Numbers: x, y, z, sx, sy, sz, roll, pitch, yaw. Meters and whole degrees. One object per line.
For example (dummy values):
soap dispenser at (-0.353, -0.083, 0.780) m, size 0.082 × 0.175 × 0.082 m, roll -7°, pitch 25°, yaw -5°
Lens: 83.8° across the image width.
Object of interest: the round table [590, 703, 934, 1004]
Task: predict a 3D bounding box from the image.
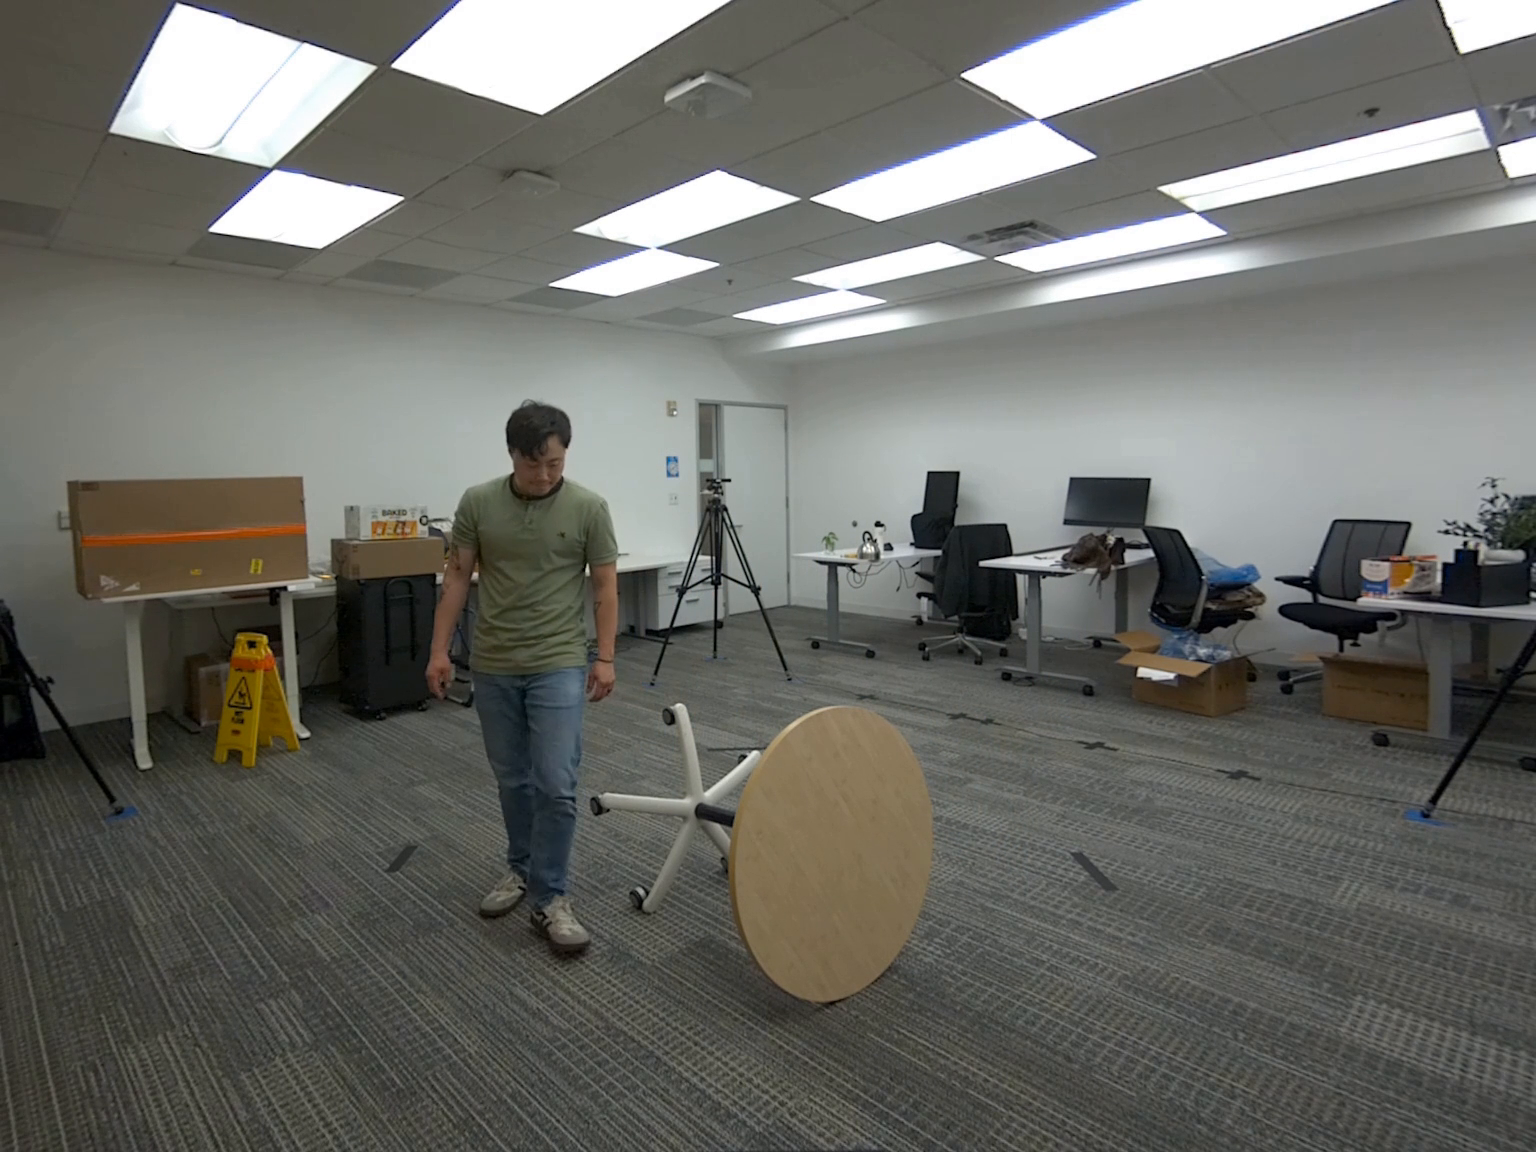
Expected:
round table at (-0.048, 0.766, 2.651) m, size 0.744 × 0.765 × 0.814 m, roll -5°, pitch -1°, yaw -40°
